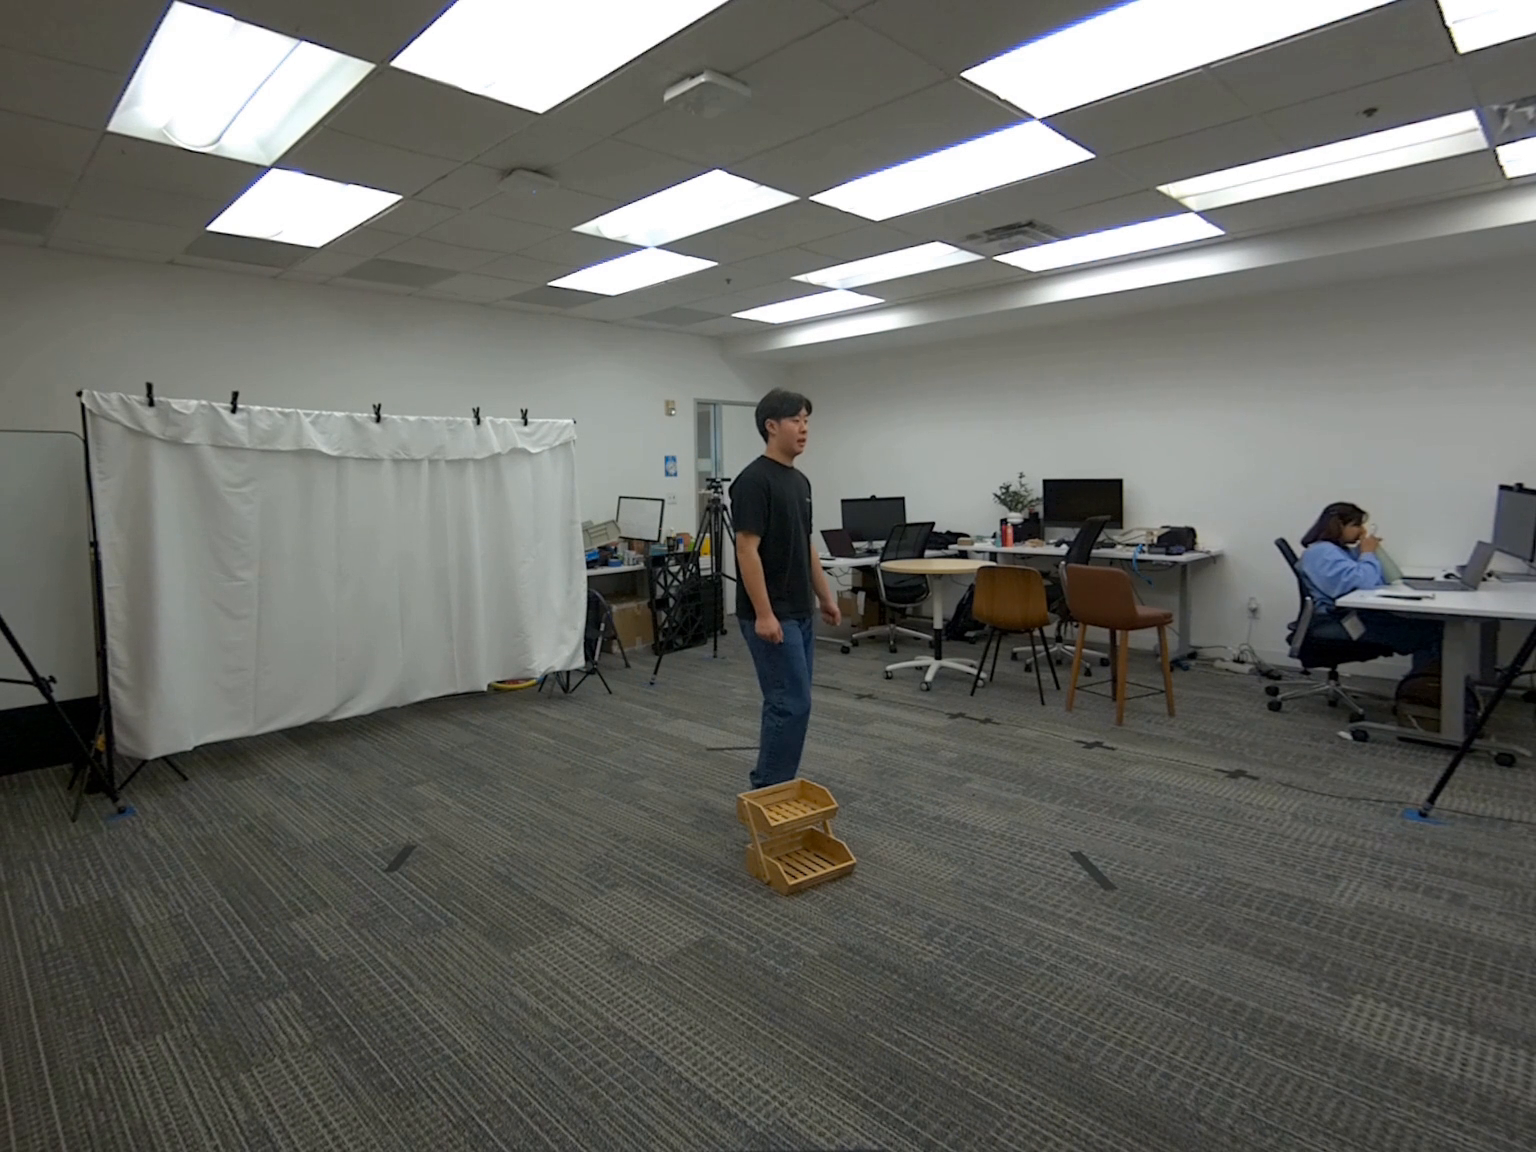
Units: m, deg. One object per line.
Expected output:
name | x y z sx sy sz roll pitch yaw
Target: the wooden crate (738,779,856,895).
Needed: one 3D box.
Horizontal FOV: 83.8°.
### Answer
wooden crate | 0.102 0.916 3.036 0.316 0.272 0.311 -4 5 -35
